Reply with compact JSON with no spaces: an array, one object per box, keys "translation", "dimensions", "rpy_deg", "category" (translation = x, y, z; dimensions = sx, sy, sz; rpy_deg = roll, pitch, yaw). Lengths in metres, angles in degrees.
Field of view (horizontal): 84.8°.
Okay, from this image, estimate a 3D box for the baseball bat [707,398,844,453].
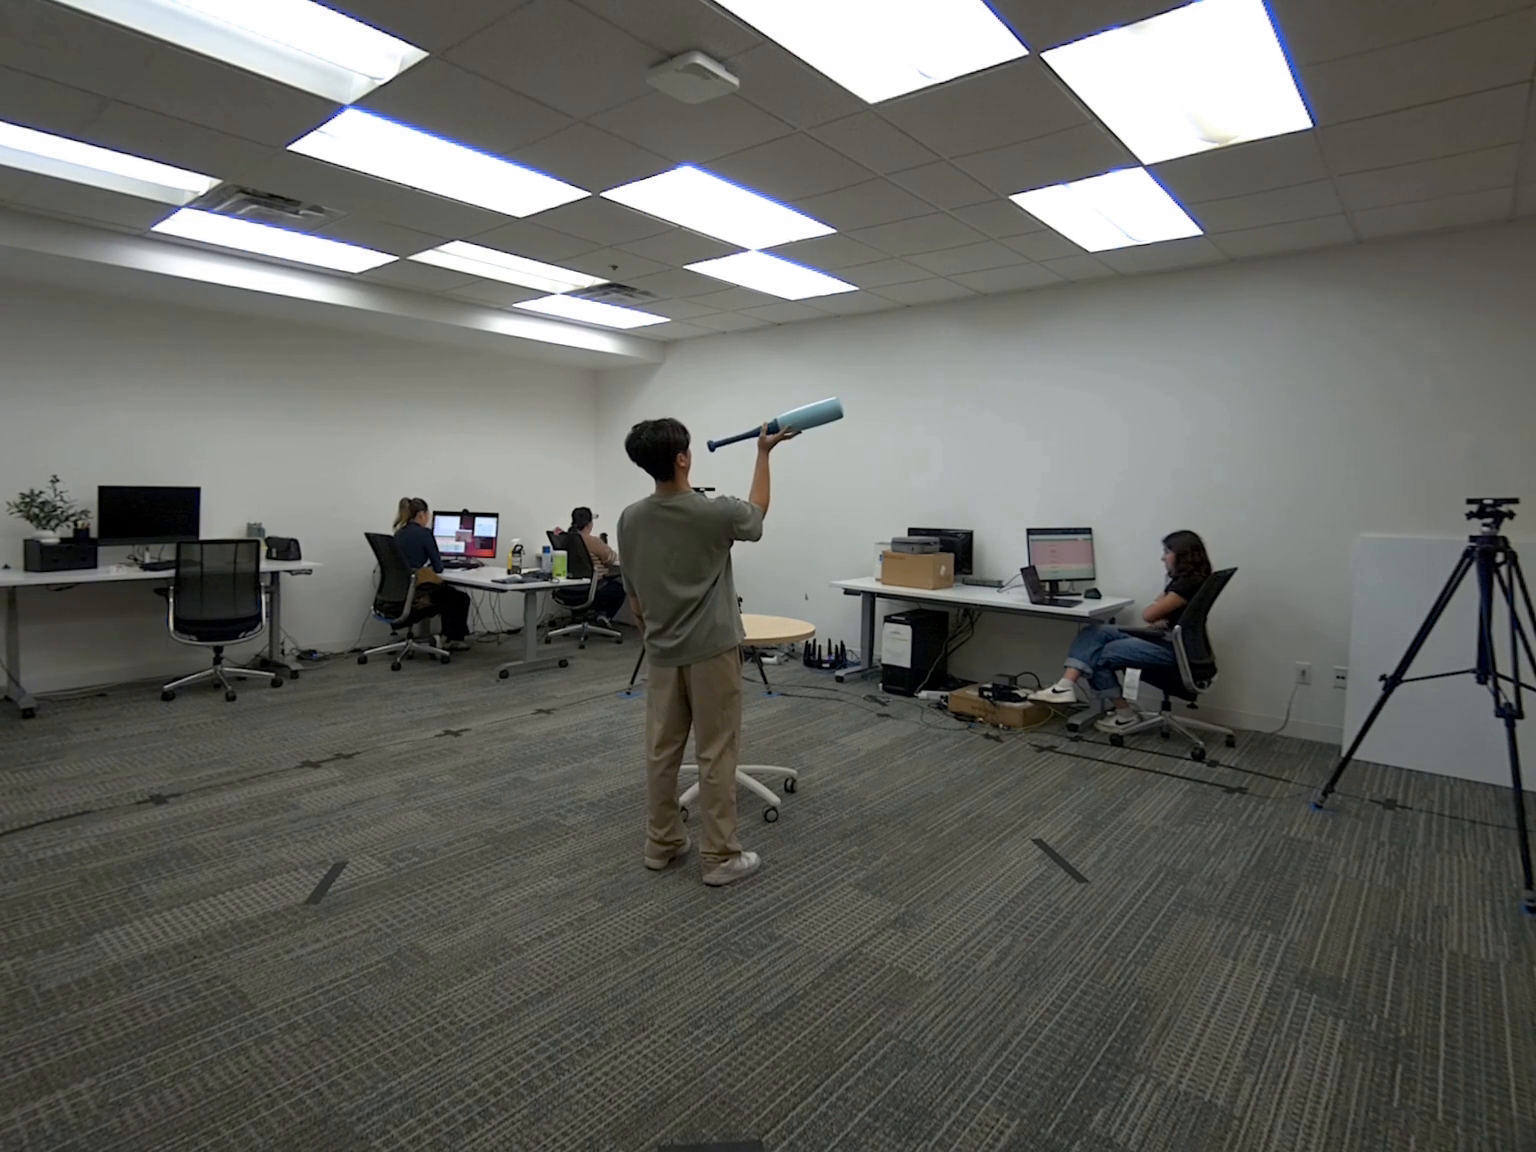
[{"translation":[0.014,-0.581,3.294],"dimensions":[0.548,0.089,0.088],"rpy_deg":[-15,1,12],"category":"baseball bat"}]
